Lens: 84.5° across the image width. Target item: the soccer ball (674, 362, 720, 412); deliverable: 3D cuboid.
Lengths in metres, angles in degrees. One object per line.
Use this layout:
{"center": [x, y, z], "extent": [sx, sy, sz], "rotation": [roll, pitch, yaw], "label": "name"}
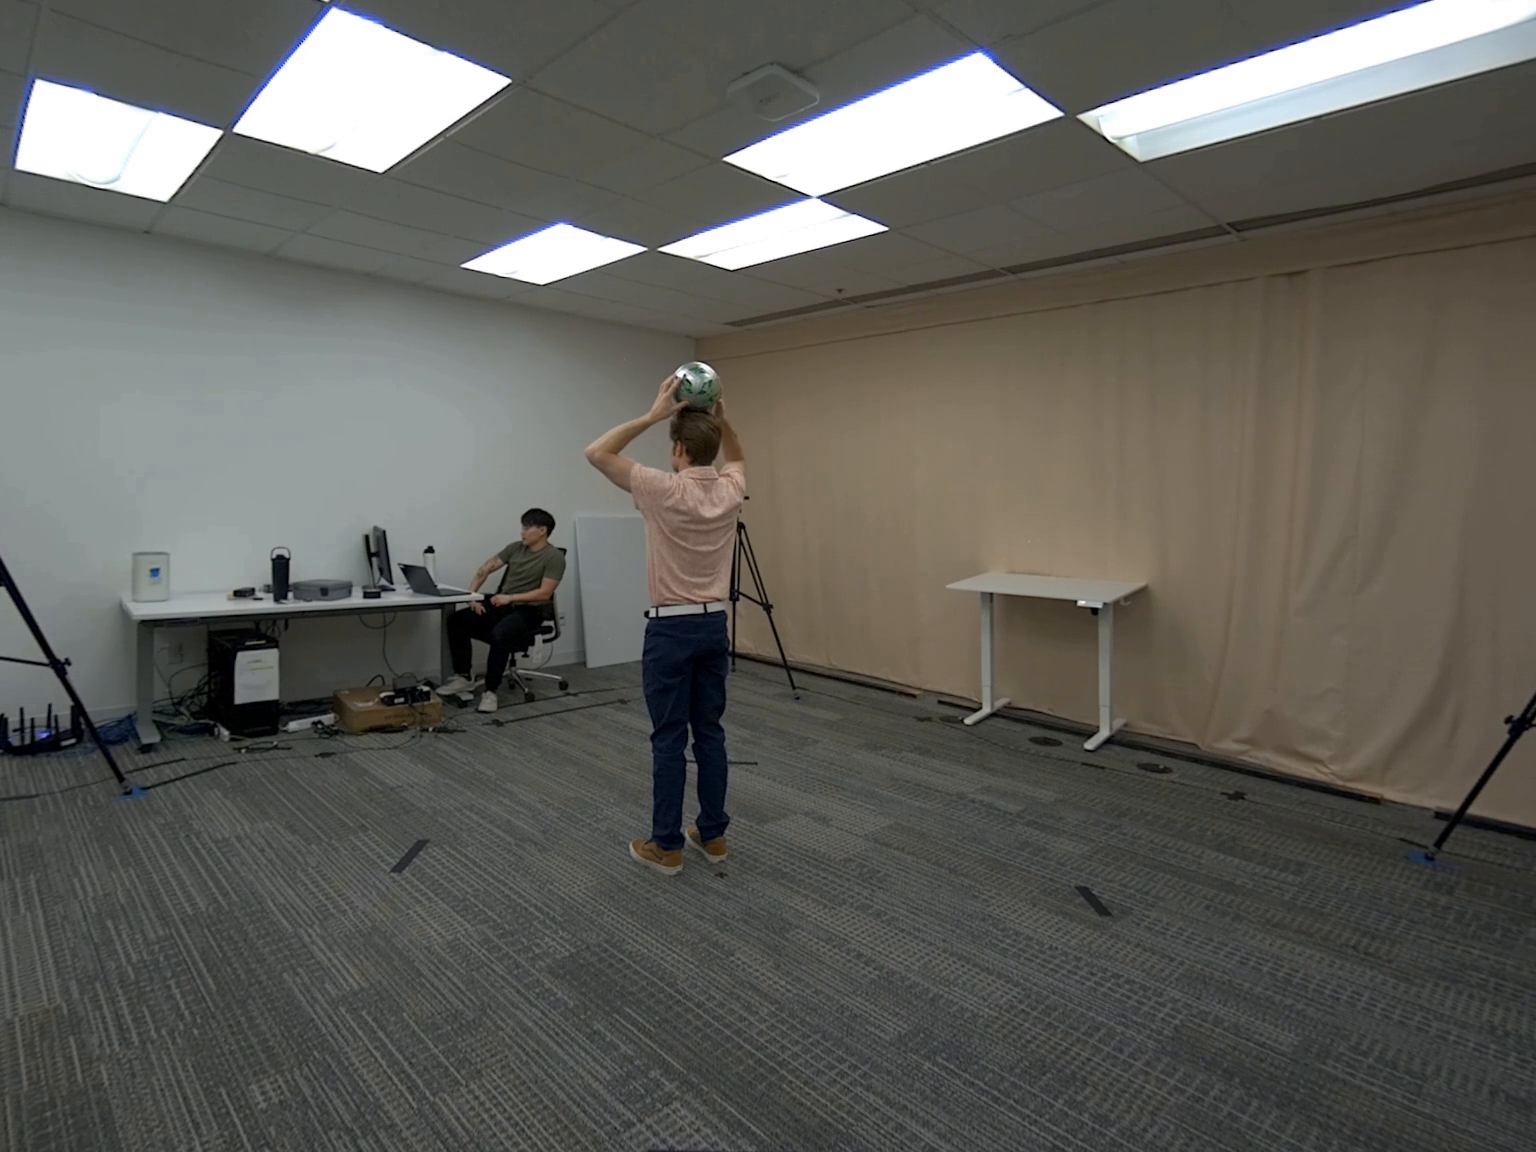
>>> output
{"center": [-0.282, -0.693, 3.136], "extent": [0.187, 0.187, 0.188], "rotation": [1, 4, -1], "label": "soccer ball"}
